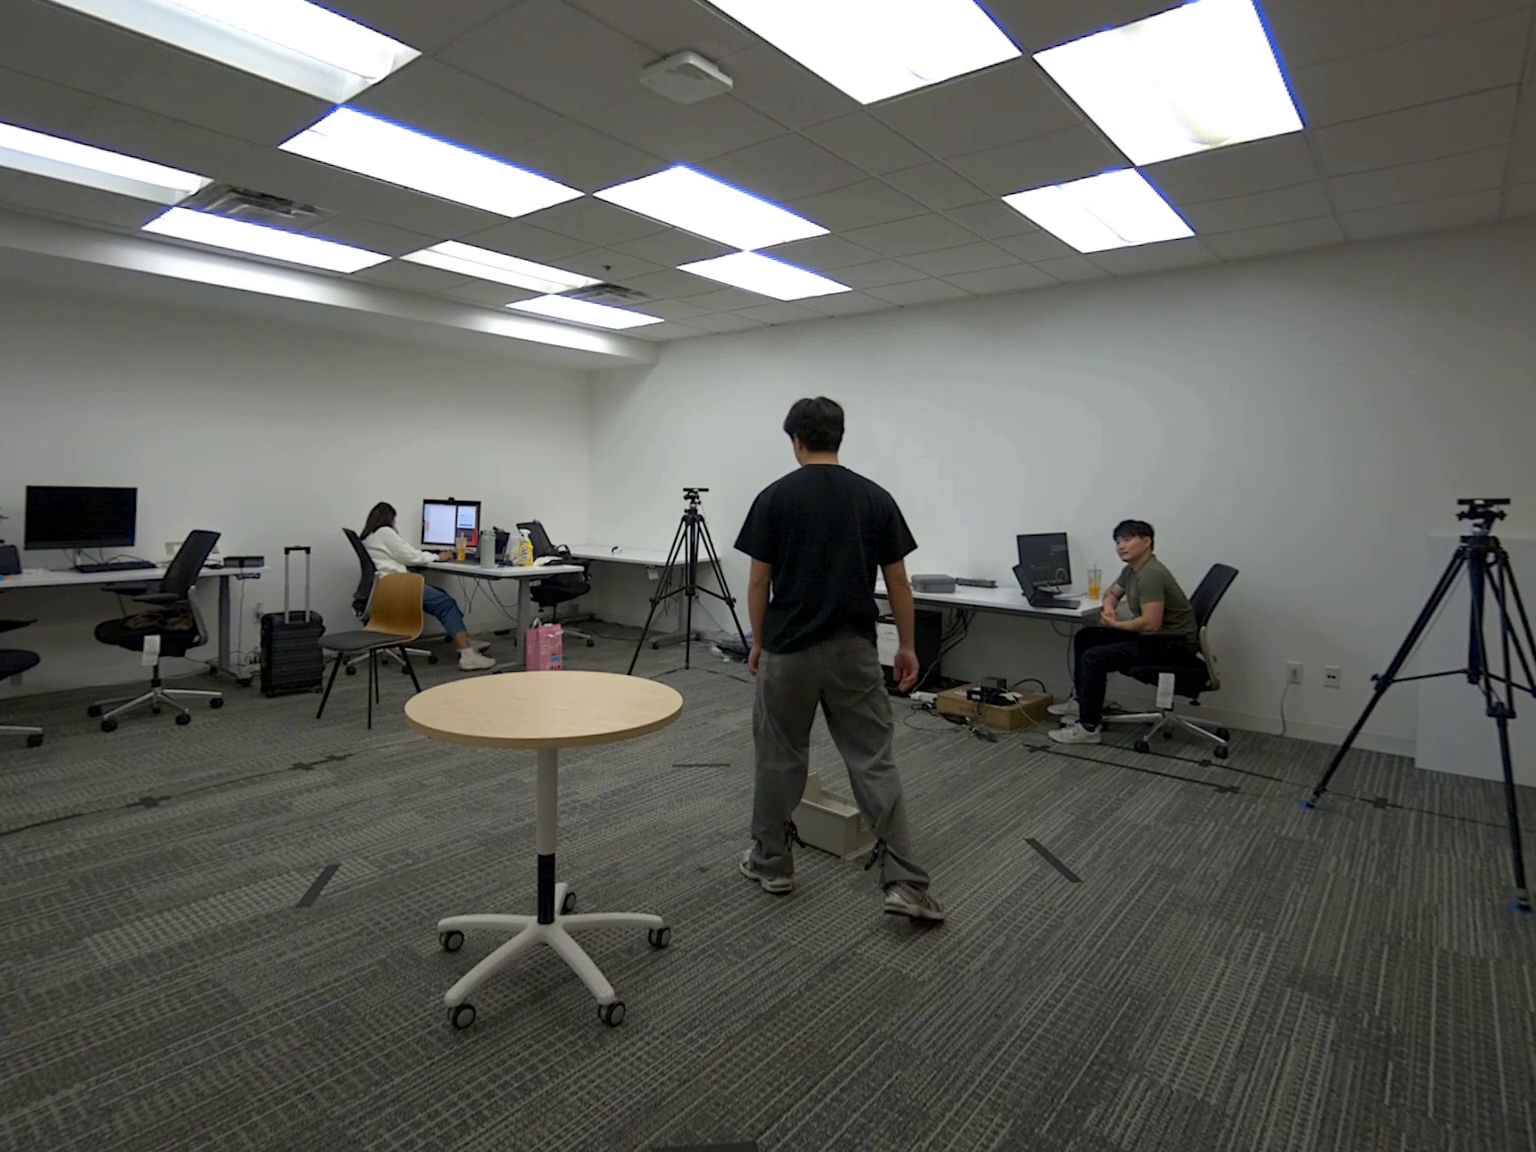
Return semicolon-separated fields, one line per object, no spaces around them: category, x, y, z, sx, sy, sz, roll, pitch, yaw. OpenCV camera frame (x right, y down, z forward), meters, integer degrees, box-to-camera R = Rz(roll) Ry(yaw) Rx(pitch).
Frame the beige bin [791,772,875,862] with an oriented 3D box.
beige bin;0.252;0.954;3.462;0.437;0.188;0.366;7;8;41
